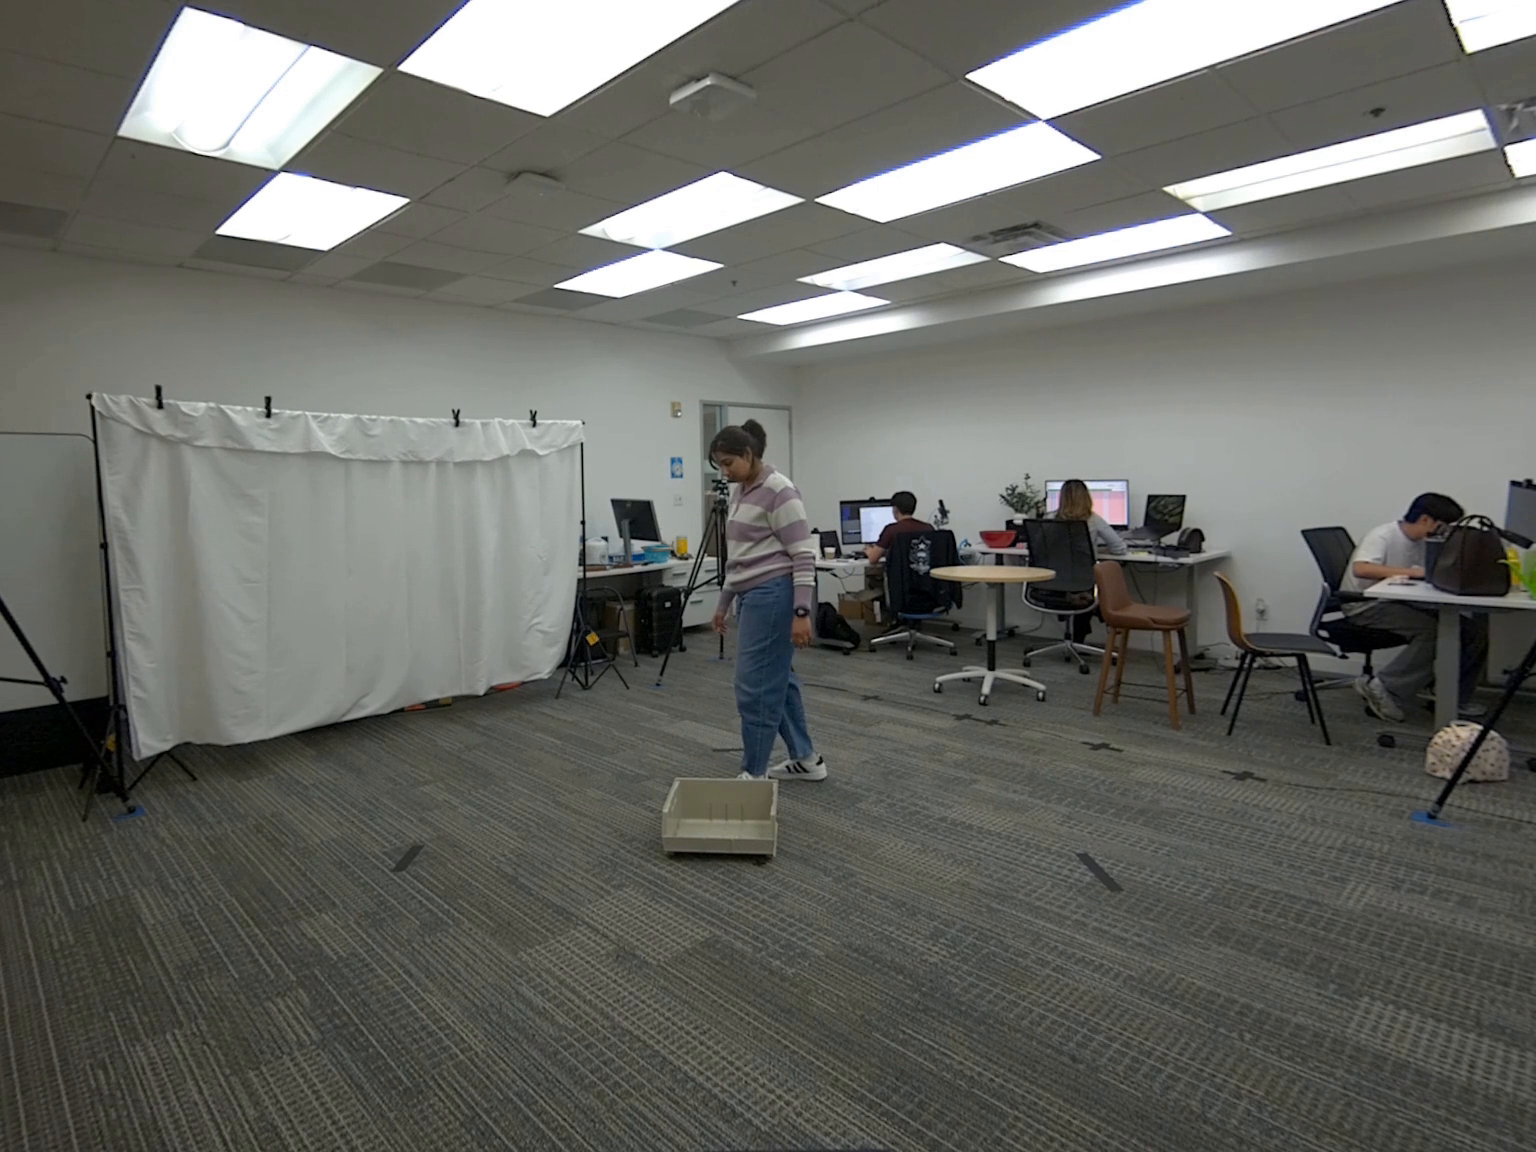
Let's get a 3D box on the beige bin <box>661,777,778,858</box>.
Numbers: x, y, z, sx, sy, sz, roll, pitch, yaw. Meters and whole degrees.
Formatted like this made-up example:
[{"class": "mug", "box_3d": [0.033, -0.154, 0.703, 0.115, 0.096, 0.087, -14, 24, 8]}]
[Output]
[{"class": "beige bin", "box_3d": [-0.175, 0.947, 3.308, 0.424, 0.189, 0.376, 0, 2, 4]}]
